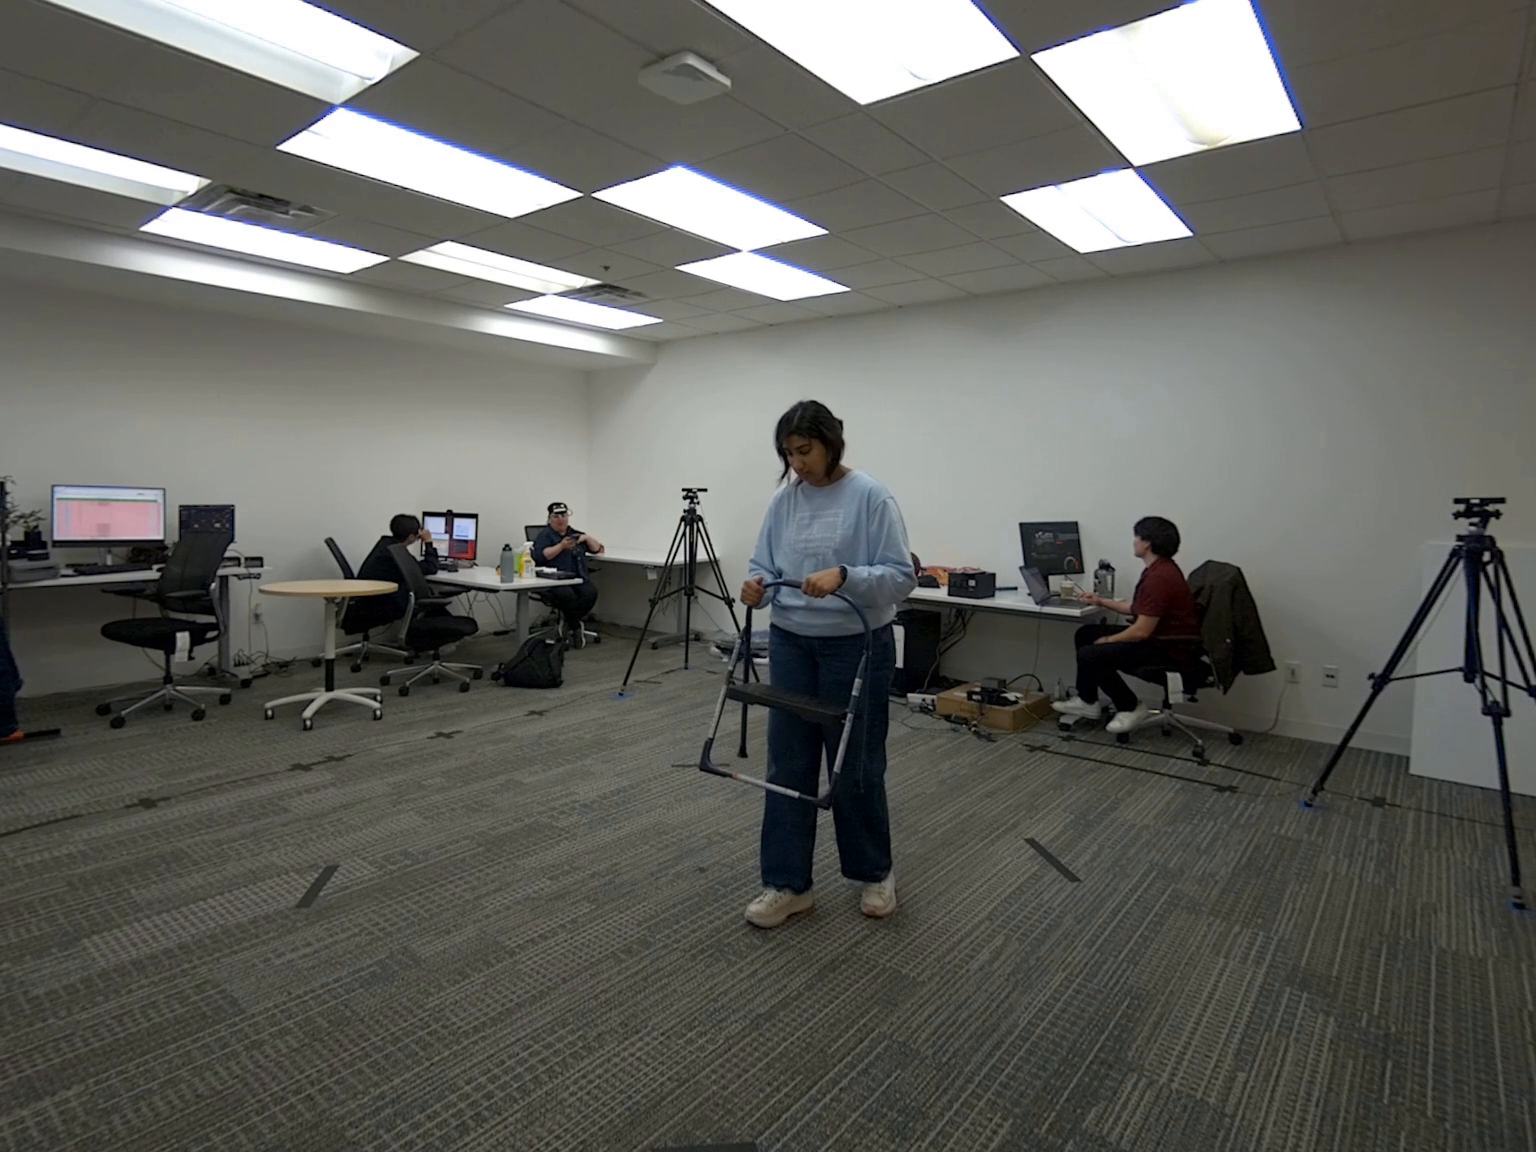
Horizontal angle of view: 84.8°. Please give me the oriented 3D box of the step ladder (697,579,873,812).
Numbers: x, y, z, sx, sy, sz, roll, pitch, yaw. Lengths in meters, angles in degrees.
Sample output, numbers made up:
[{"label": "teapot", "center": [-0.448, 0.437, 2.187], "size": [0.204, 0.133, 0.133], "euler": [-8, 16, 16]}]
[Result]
[{"label": "step ladder", "center": [0.086, 0.325, 2.589], "size": [0.442, 0.607, 0.340], "euler": [9, -1, 23]}]
